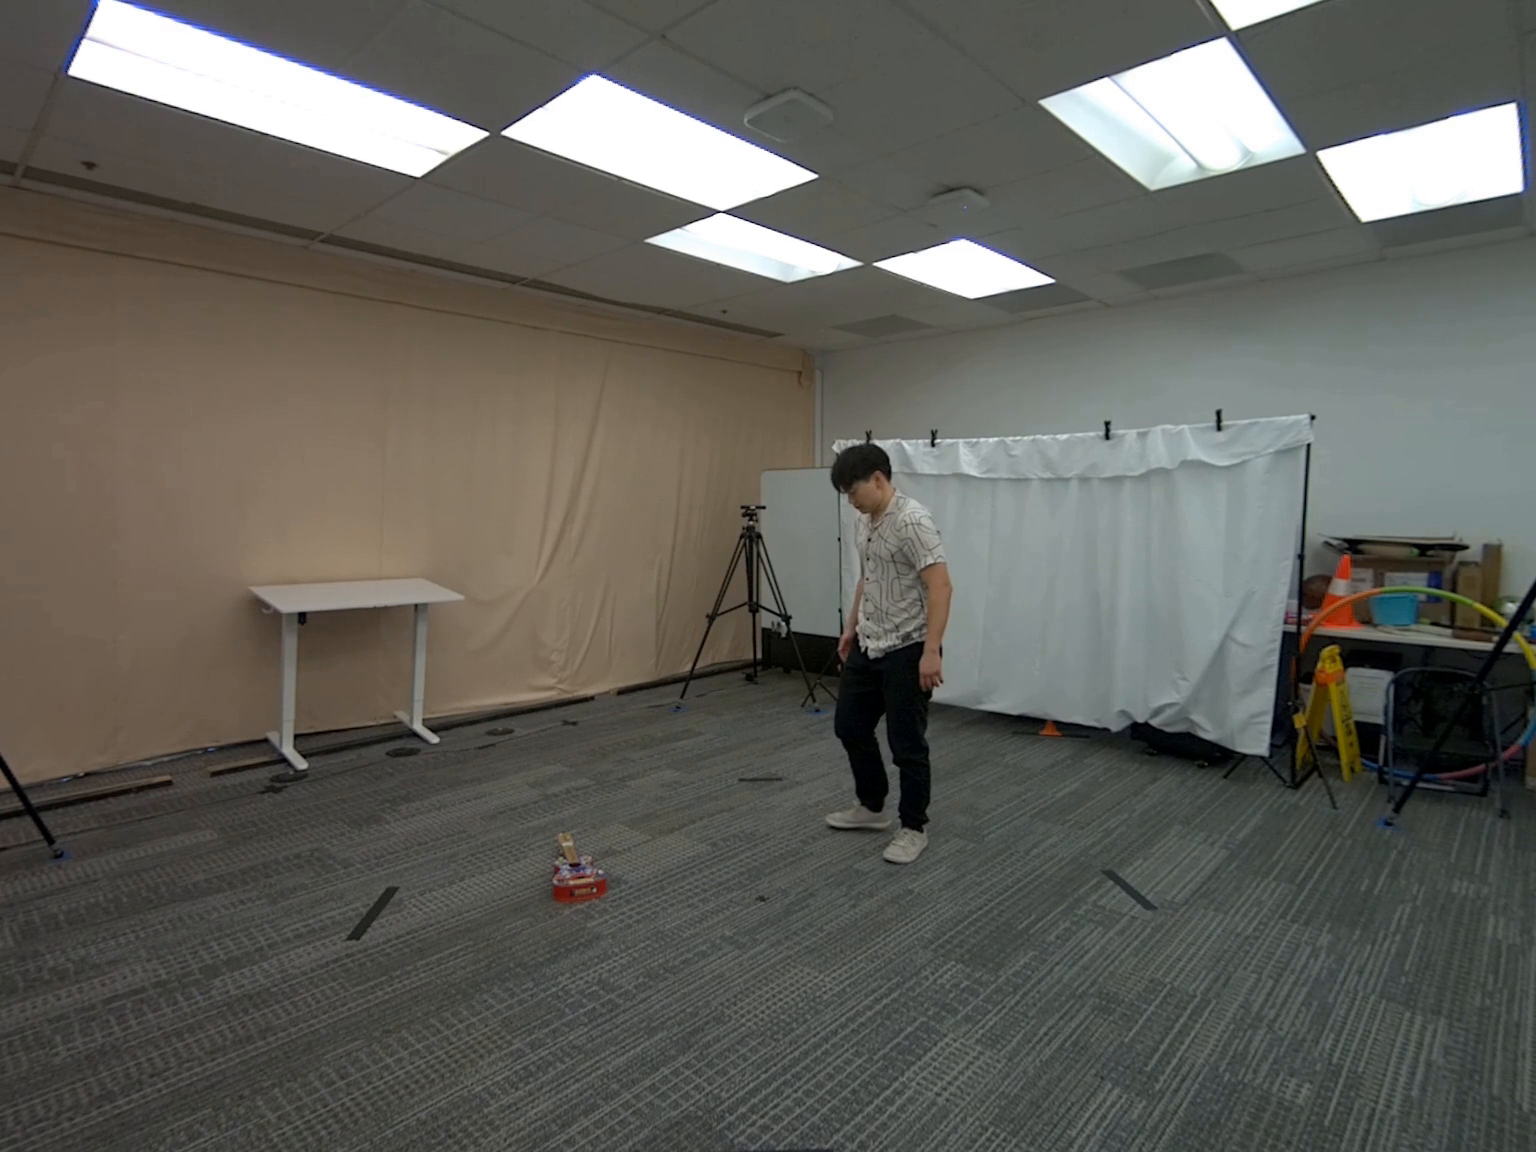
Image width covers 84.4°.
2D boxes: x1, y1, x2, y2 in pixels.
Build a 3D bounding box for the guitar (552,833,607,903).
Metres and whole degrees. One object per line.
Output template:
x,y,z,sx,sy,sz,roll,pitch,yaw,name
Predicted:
-0.720,1.097,3.215,0.191,0.070,0.505,-2,5,-11,guitar
